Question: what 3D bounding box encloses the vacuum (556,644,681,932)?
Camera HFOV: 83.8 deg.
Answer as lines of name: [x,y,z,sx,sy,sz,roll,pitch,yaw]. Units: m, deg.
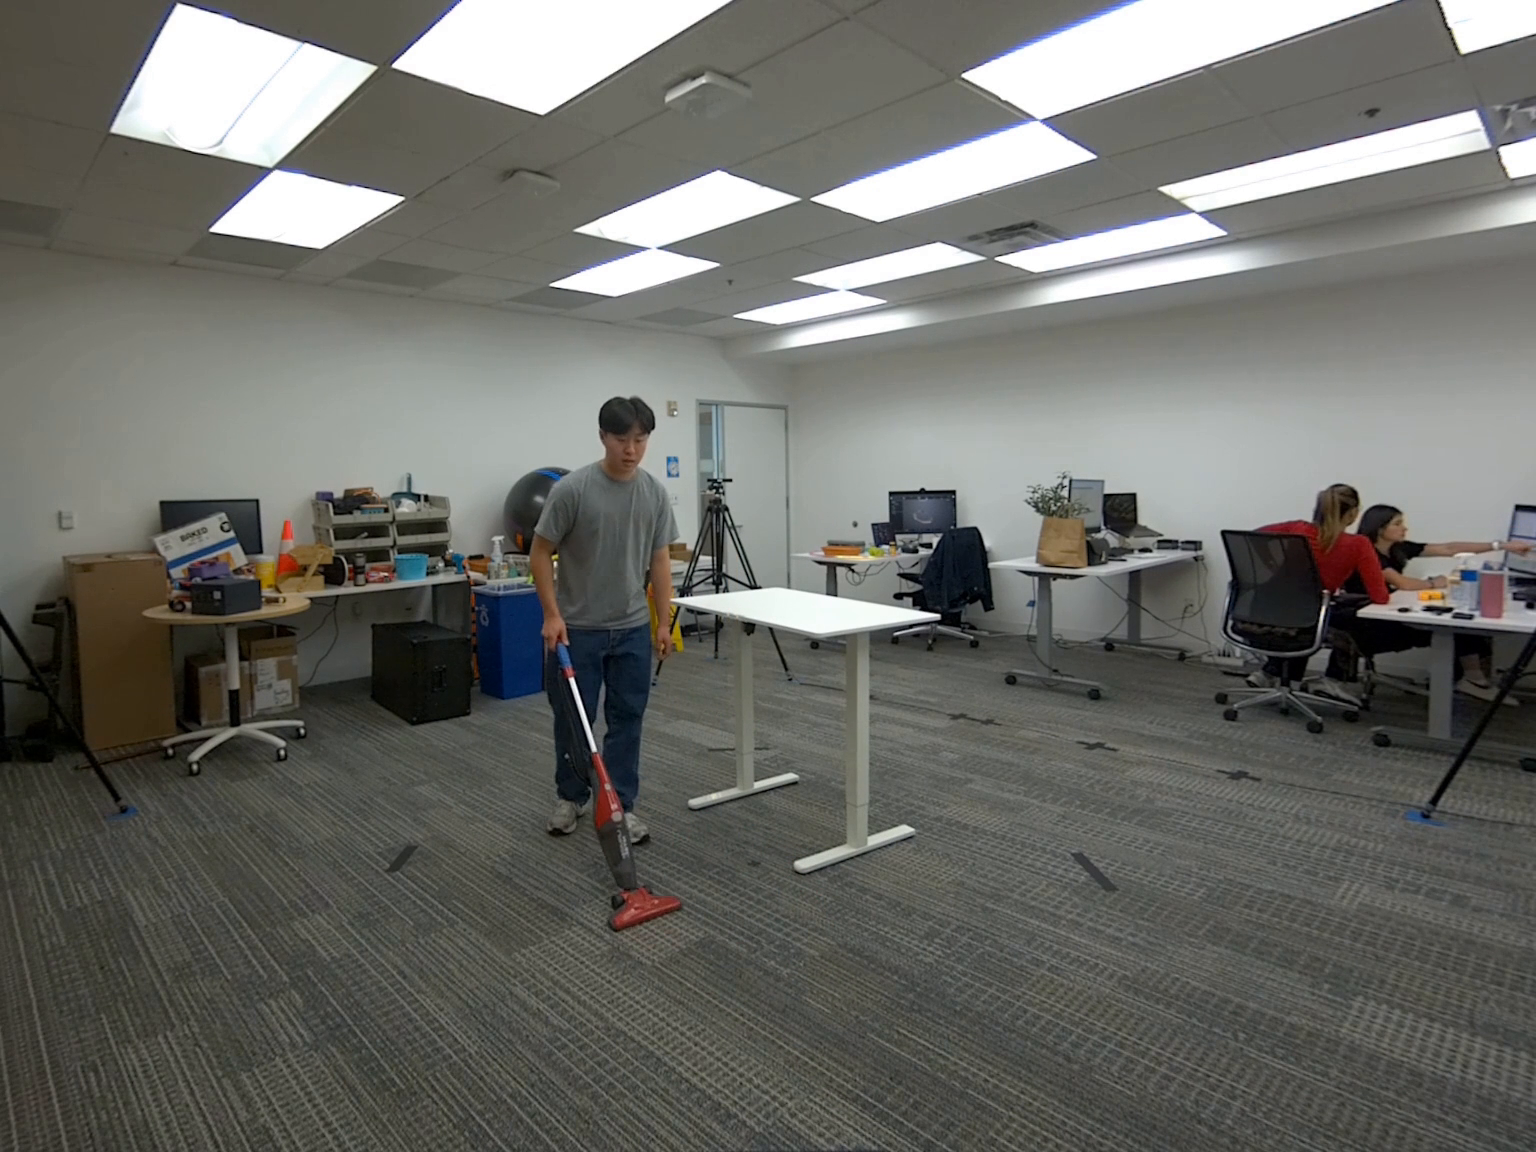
vacuum: [-0.613,0.656,3.001,0.246,1.080,0.143,-4,-33,-36]
